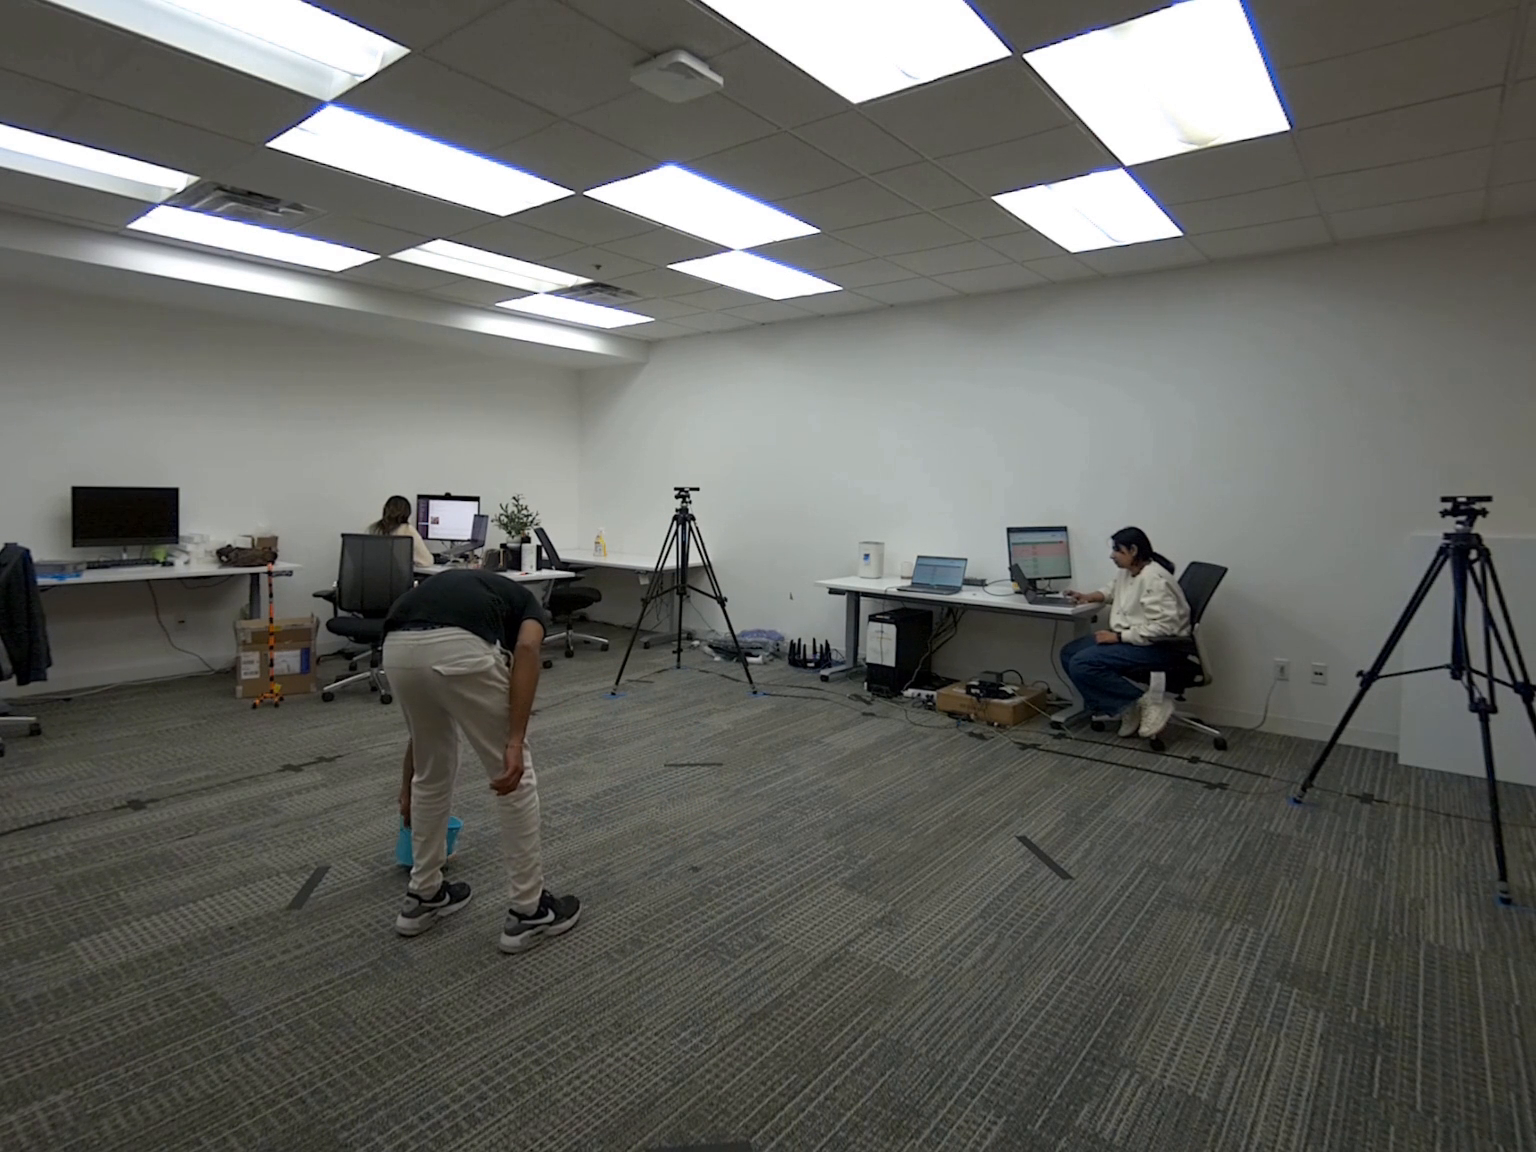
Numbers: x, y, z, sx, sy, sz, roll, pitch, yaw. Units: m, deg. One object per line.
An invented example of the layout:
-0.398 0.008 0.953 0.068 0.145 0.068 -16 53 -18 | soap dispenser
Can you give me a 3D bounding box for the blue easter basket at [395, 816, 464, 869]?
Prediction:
-1.248 0.956 3.083 0.244 0.157 0.242 11 -6 -1 | blue easter basket
